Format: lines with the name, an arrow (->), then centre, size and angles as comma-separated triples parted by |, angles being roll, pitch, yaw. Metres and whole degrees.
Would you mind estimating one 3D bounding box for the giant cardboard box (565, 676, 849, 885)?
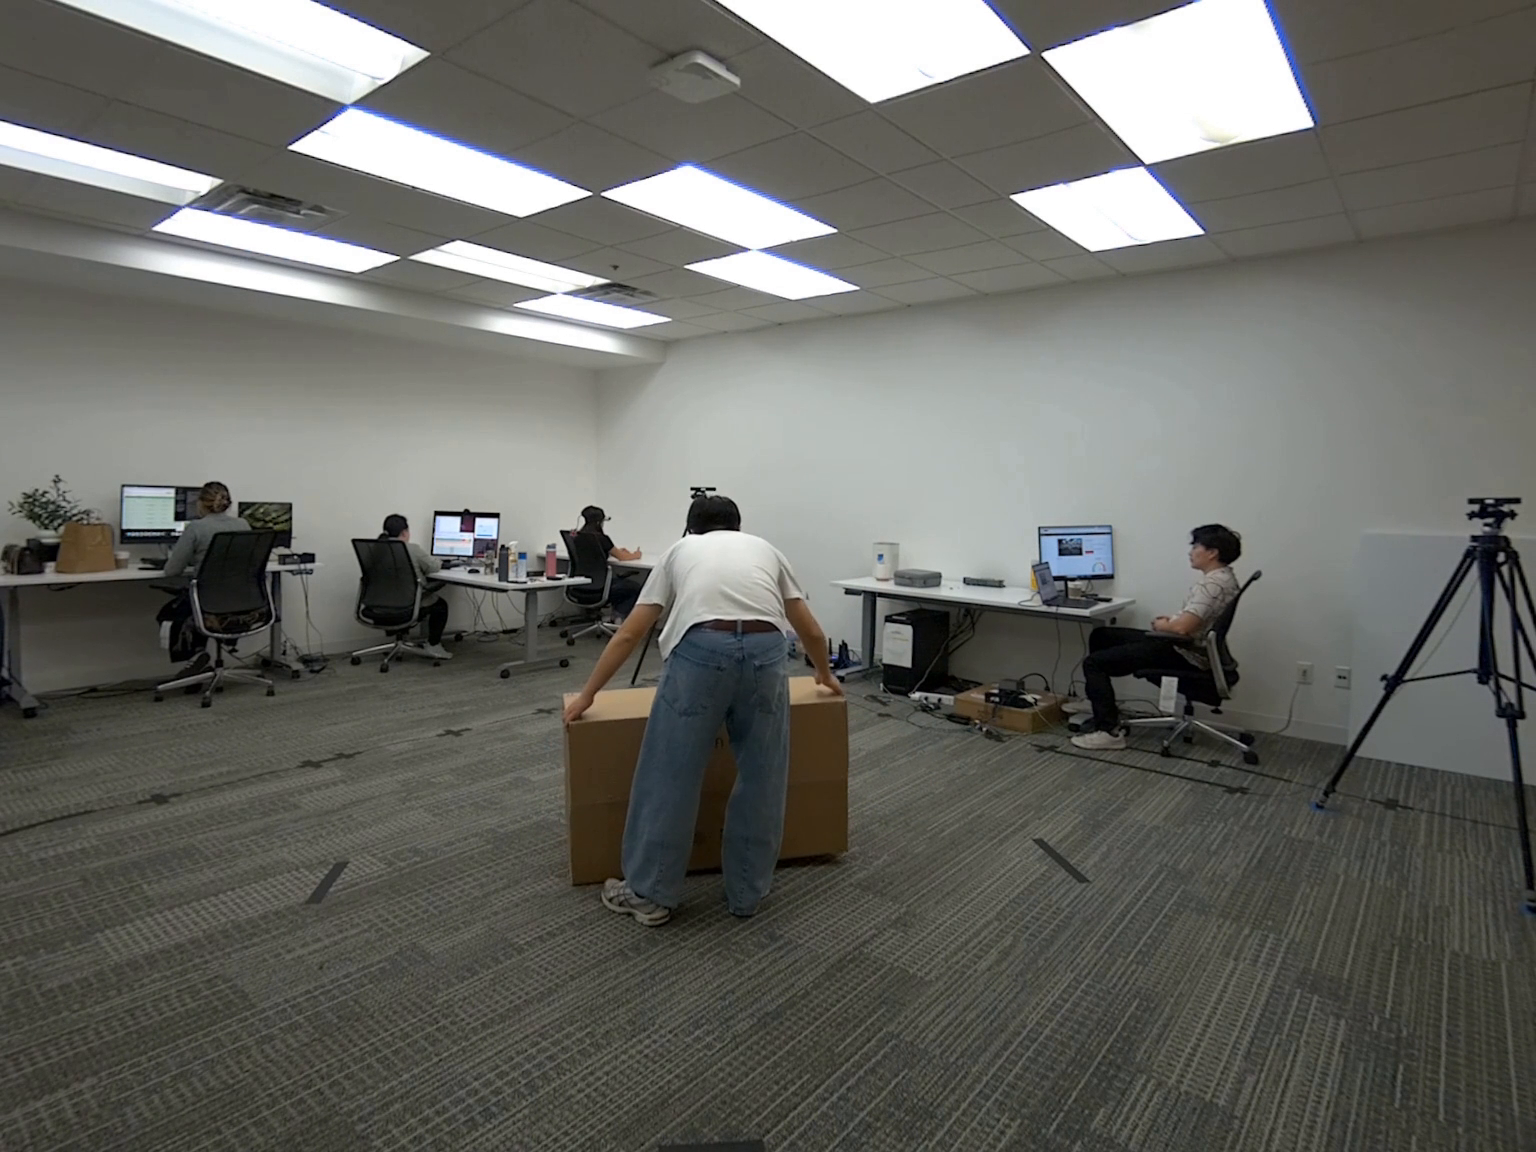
giant cardboard box -> -0.254, 0.729, 3.250 | 1.012, 0.575, 0.434 | -2, 6, -13
